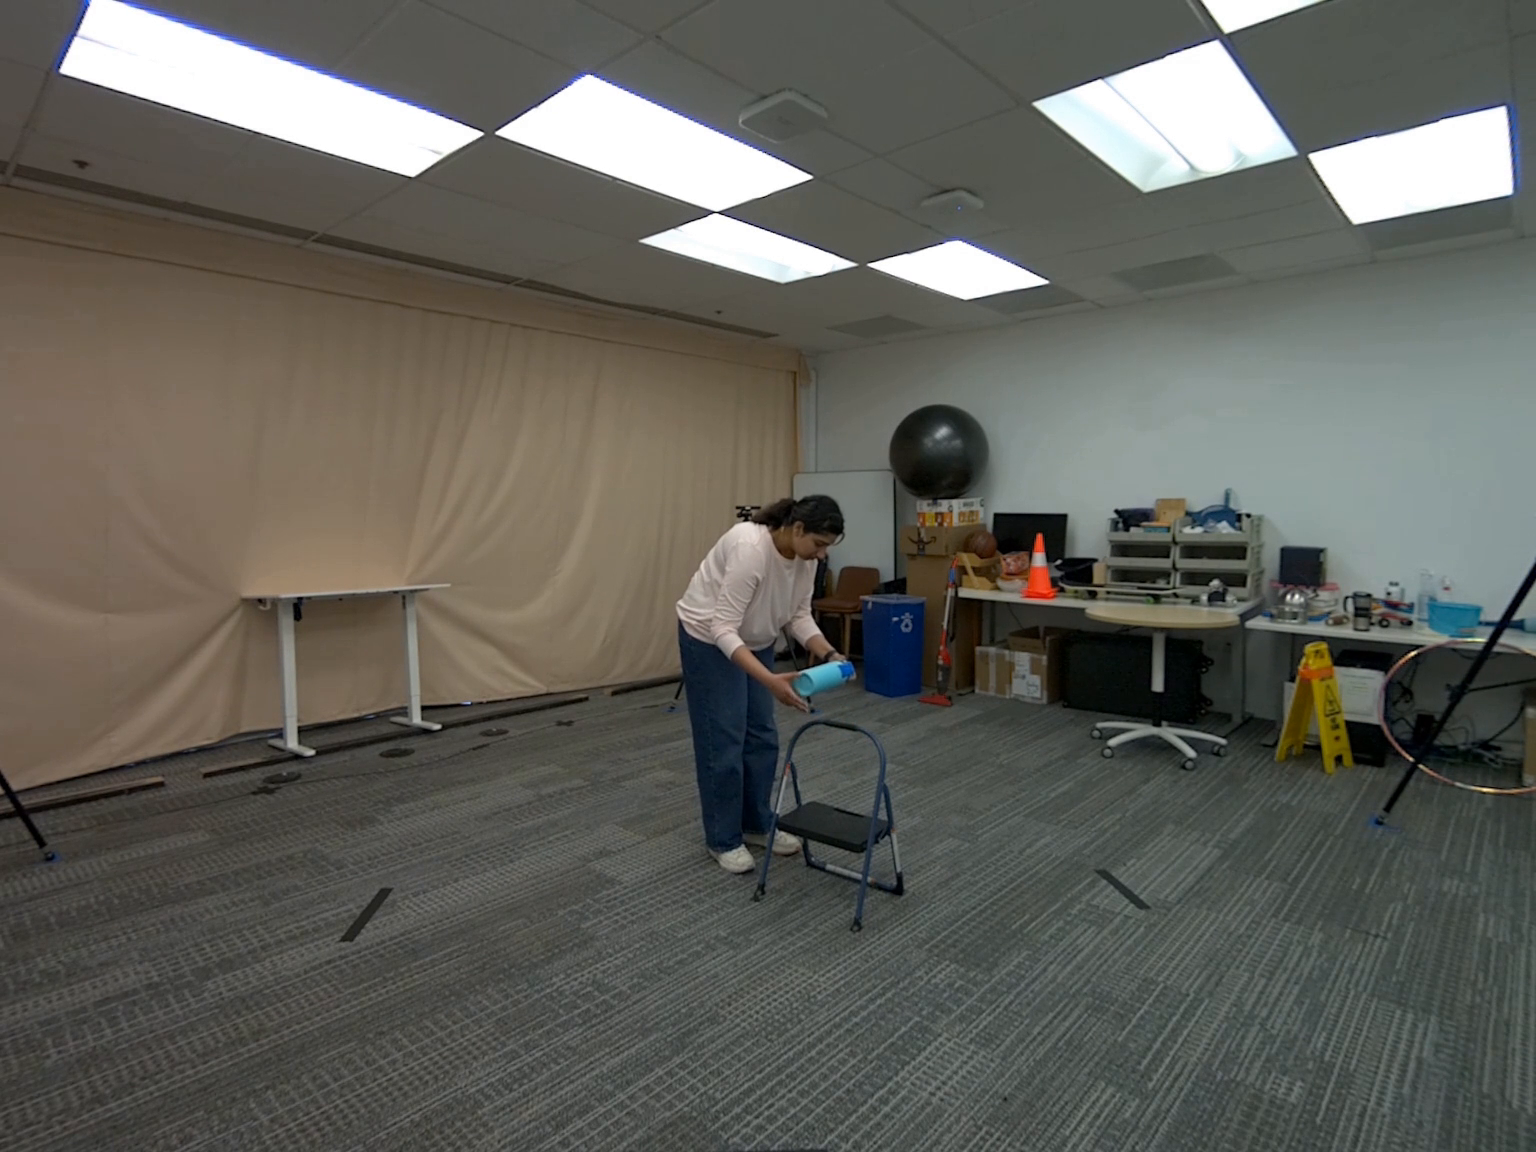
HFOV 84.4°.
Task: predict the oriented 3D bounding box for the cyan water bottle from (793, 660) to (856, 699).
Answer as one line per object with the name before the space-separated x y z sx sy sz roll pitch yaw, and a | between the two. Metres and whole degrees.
cyan water bottle | 0.212 0.360 3.026 0.095 0.092 0.275 3 8 40
